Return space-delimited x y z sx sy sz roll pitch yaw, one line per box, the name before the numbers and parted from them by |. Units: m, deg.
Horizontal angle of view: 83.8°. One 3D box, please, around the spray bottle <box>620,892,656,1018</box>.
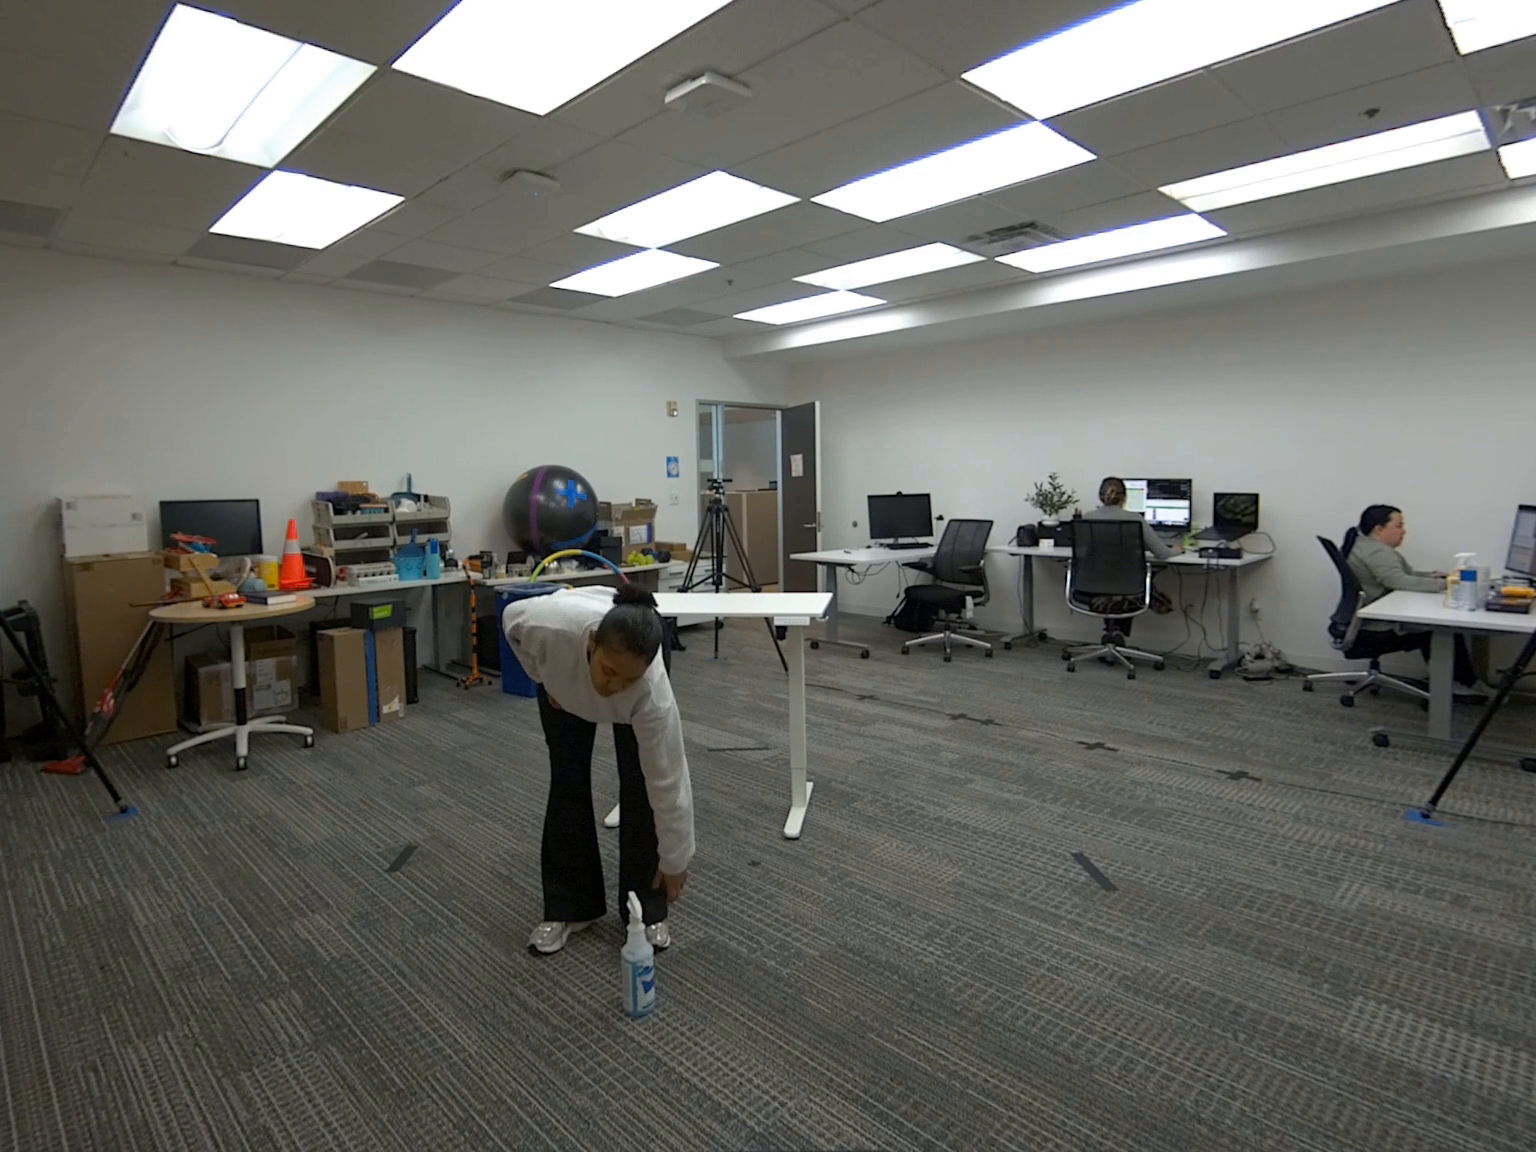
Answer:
spray bottle | -0.346 1.011 2.266 0.087 0.297 0.089 -2 1 5
